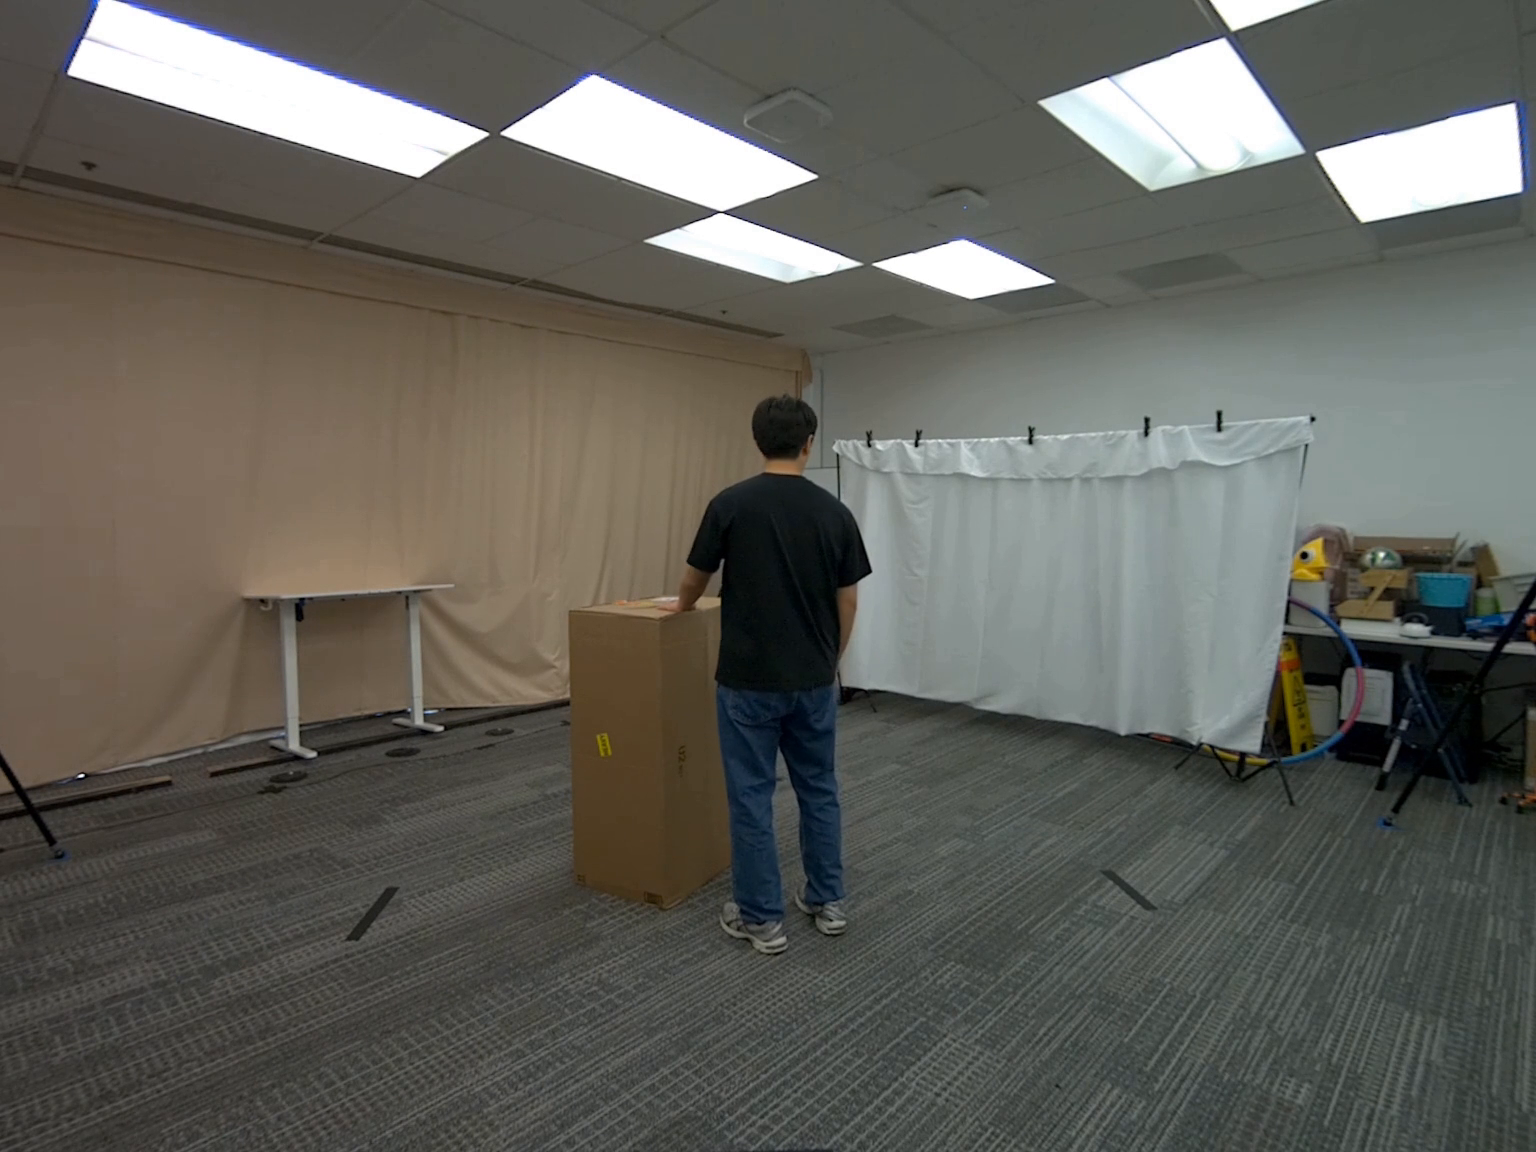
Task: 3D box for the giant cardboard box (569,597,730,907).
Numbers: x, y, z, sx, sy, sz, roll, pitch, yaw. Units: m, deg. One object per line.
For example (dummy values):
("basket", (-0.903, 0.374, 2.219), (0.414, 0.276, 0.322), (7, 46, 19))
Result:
("giant cardboard box", (-0.405, 0.613, 3.228), (0.460, 1.025, 0.568), (1, 3, 32))
